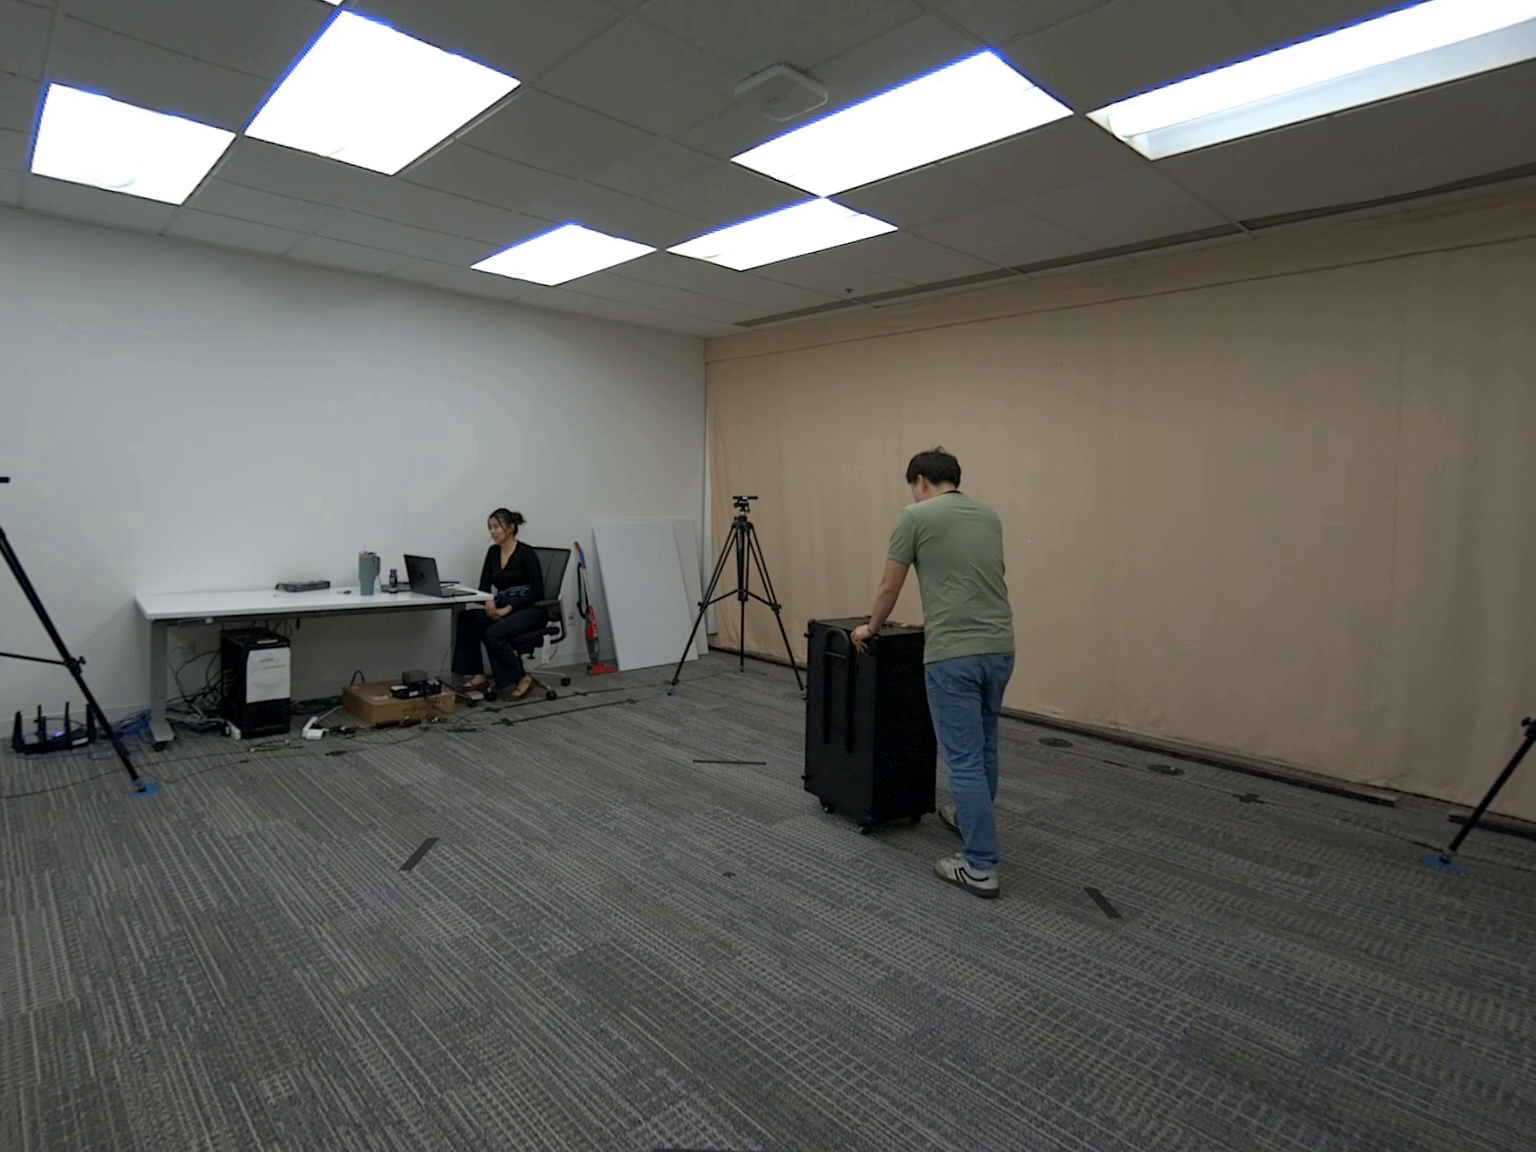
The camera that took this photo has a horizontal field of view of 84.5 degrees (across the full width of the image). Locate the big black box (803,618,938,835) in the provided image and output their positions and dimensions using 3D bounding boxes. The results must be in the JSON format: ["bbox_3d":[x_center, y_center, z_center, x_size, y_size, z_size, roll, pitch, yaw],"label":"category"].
[{"bbox_3d":[0.431,0.640,3.704,0.388,0.859,0.533,-2,4,-32],"label":"big black box"}]
